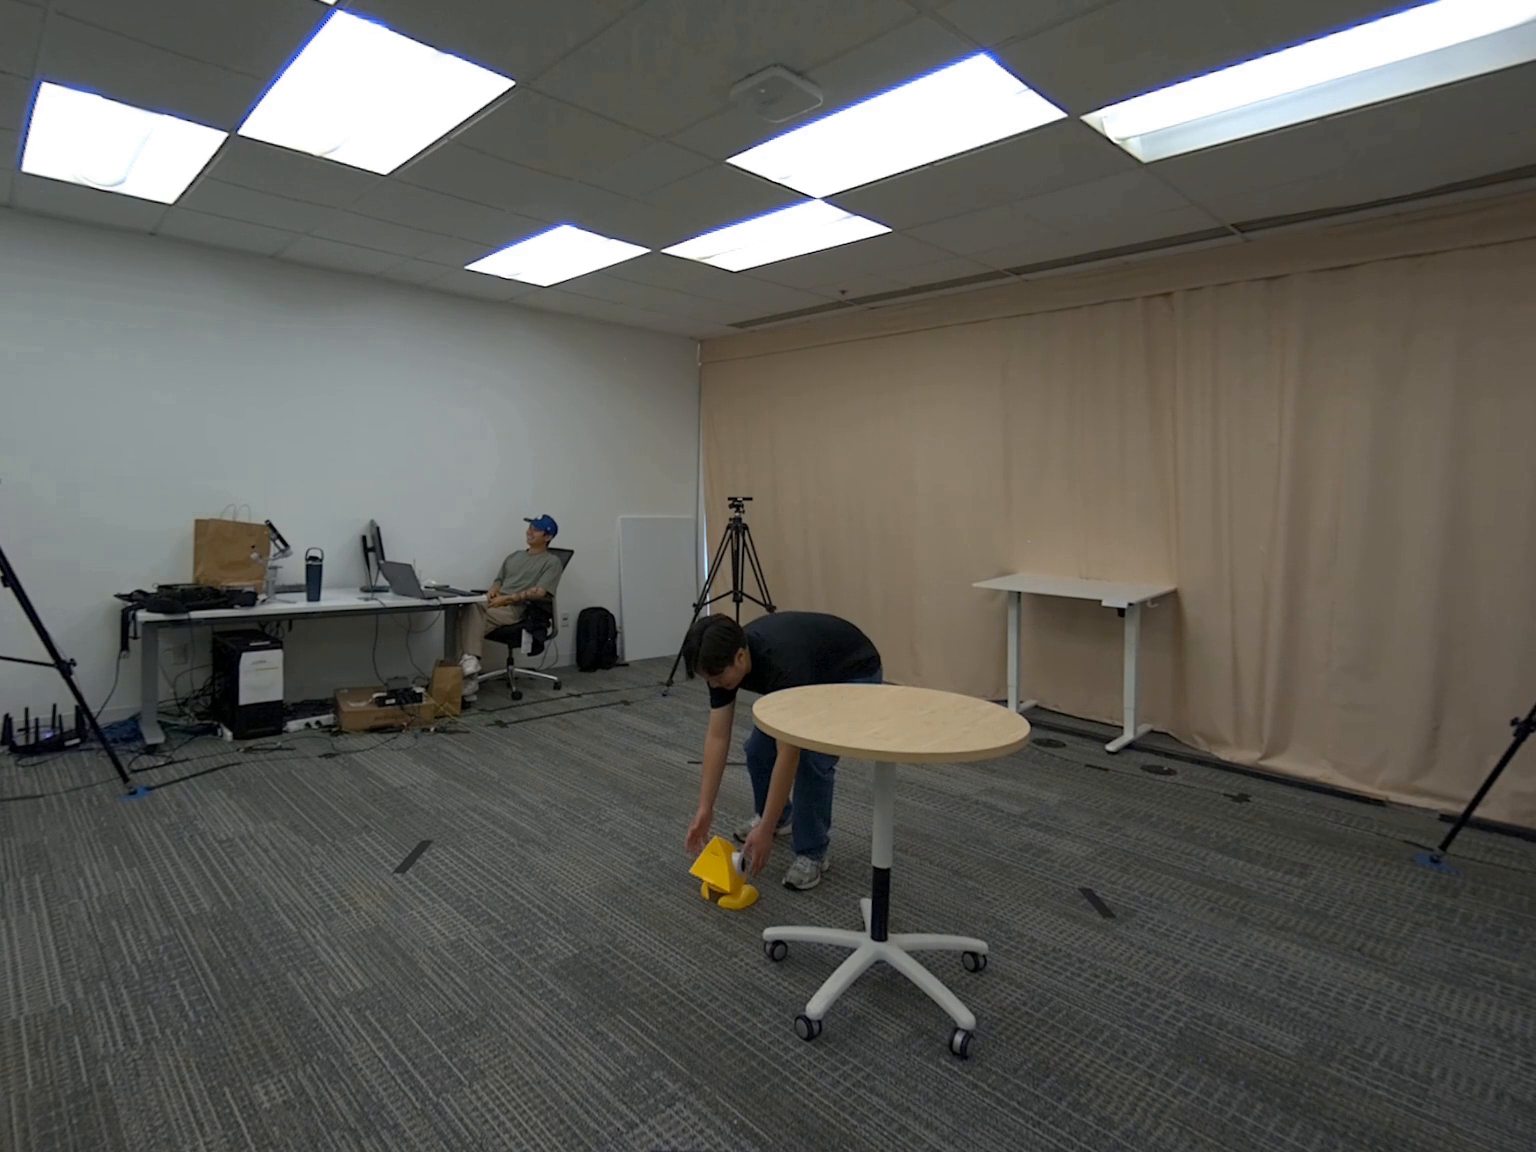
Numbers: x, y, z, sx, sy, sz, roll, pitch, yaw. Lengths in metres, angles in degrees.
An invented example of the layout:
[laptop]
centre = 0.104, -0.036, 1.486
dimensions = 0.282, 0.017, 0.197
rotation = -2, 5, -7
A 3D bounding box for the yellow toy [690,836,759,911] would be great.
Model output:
[yellow toy]
centre = -0.148, 1.008, 2.945
dimensions = 0.210, 0.230, 0.189
rotation = 4, 5, 45
